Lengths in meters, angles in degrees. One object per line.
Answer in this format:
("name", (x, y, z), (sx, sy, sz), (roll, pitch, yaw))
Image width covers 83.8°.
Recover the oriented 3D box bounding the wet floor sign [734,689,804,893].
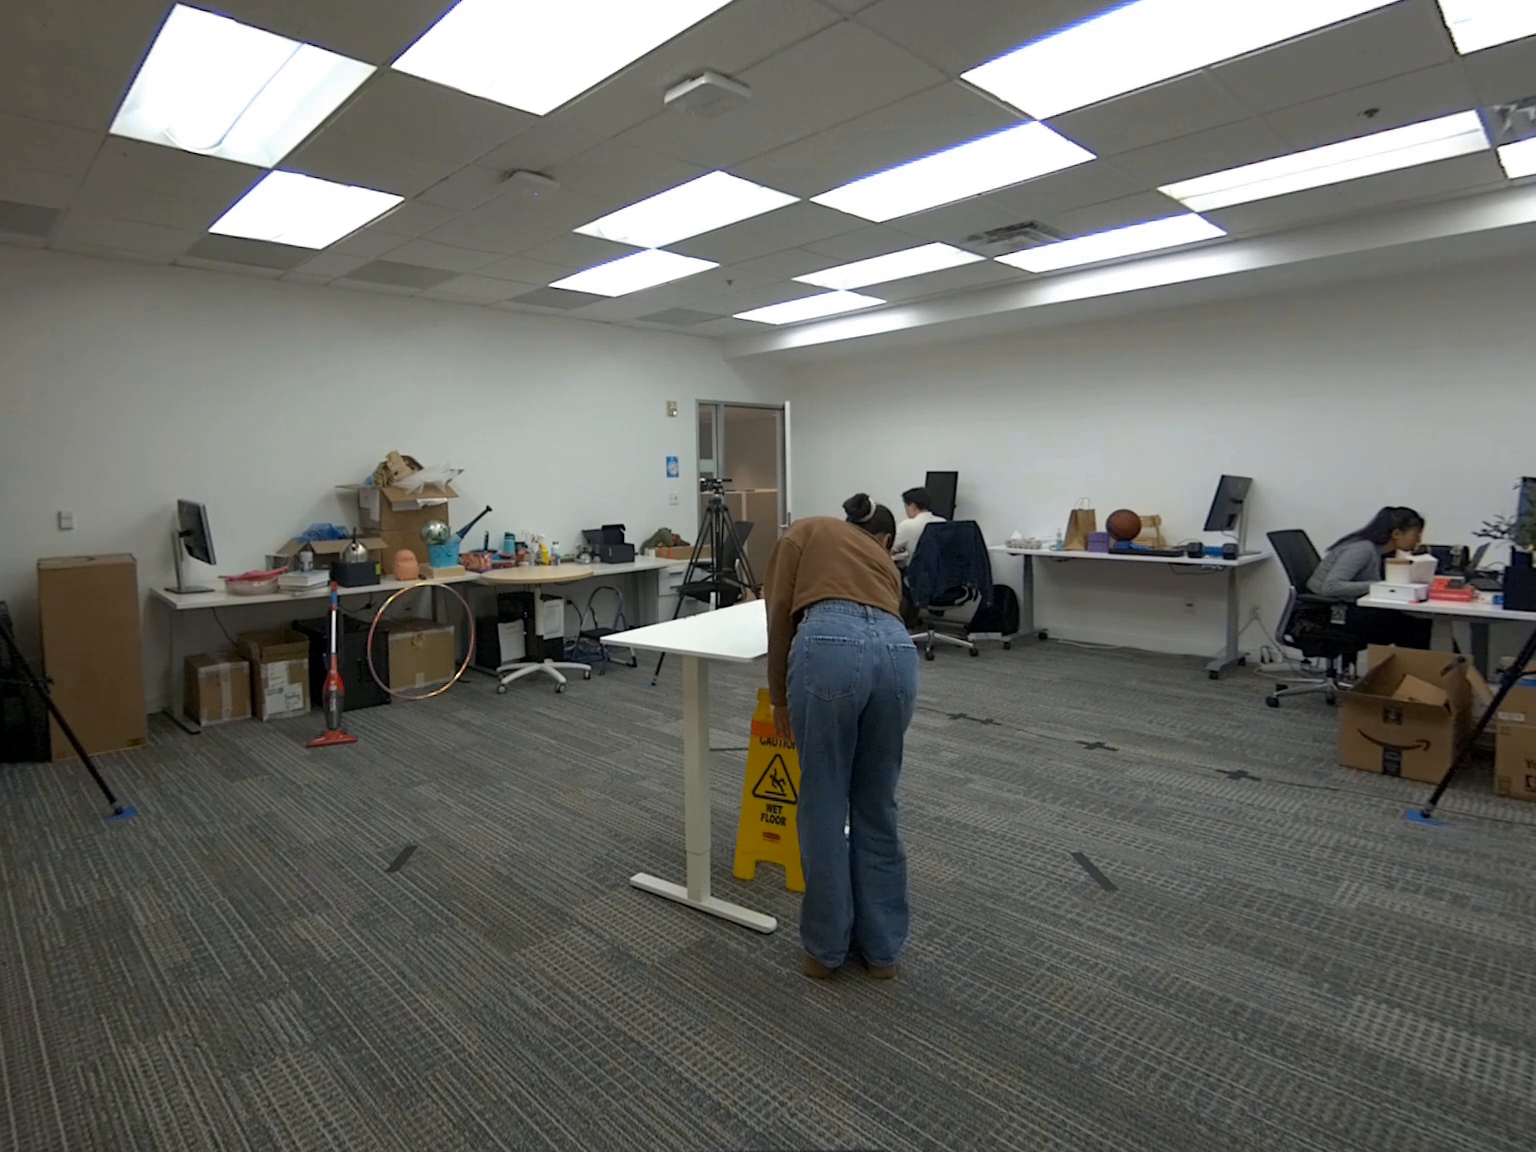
("wet floor sign", (0.062, 0.724, 3.041), (0.289, 0.644, 0.283), (2, 4, 27))
